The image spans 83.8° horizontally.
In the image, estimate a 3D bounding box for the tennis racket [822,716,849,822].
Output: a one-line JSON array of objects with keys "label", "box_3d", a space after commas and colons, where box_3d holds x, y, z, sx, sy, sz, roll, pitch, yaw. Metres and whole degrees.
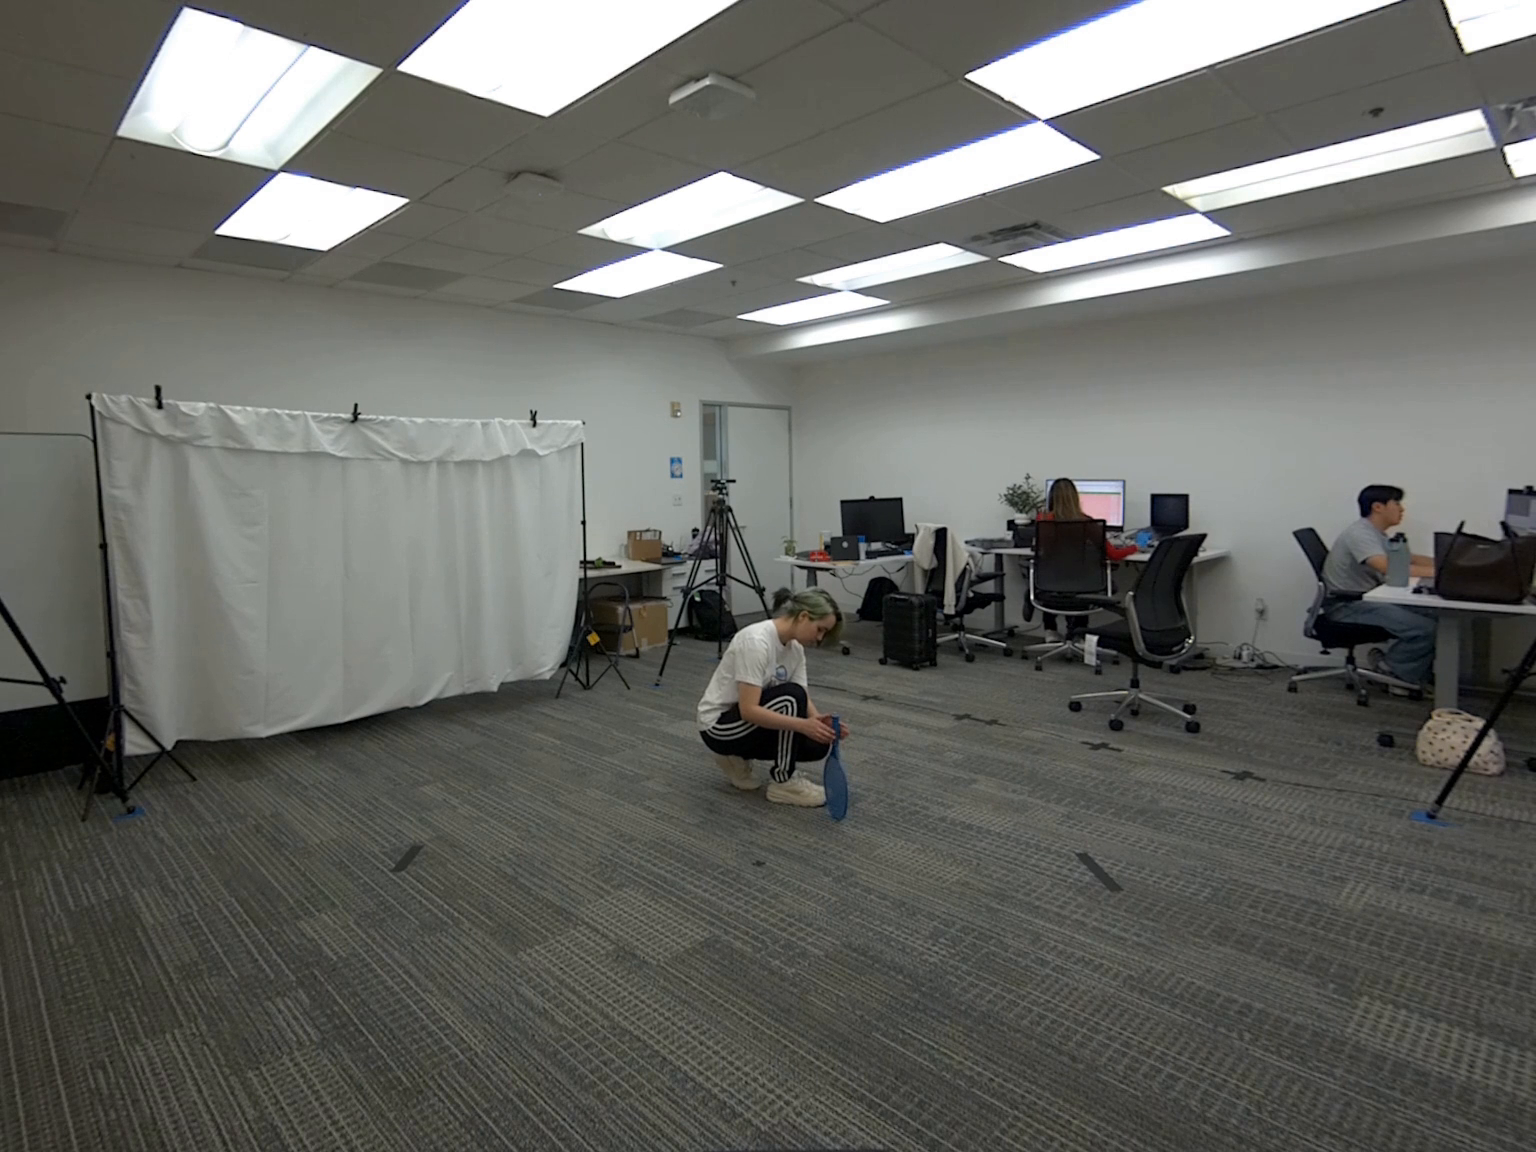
[{"label": "tennis racket", "box_3d": [0.275, 0.783, 3.492, 0.031, 0.432, 0.218, -3, 2, -20]}]
